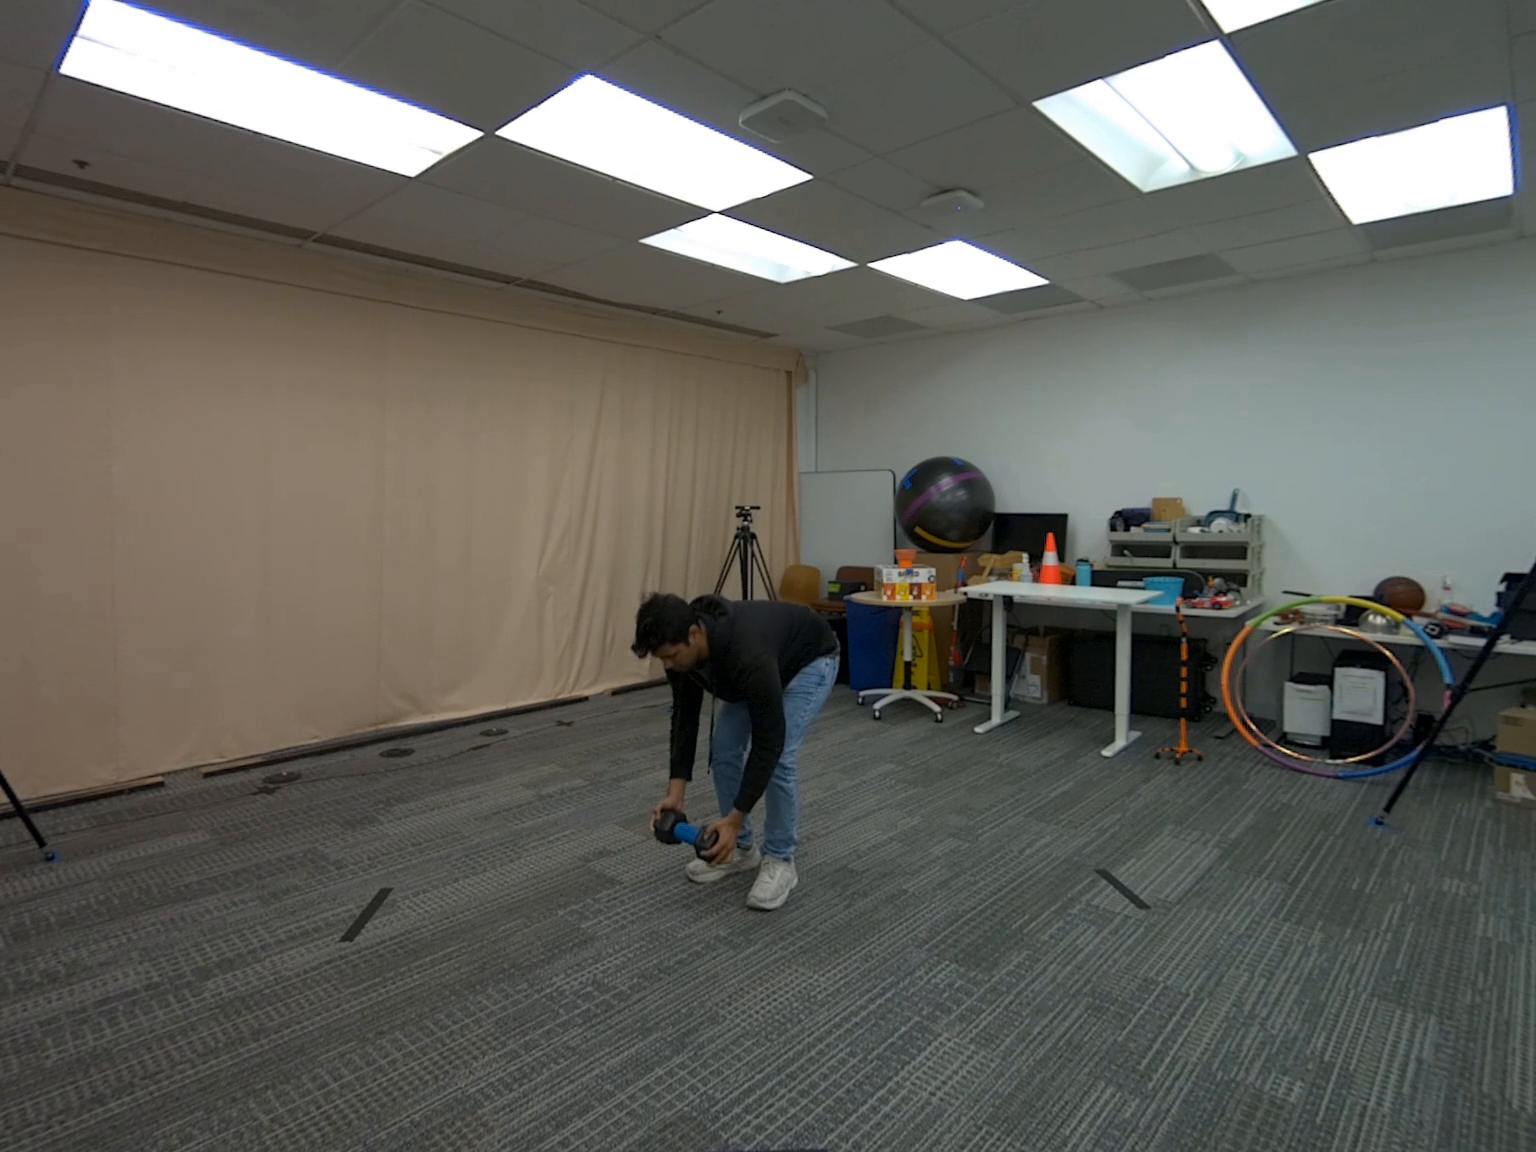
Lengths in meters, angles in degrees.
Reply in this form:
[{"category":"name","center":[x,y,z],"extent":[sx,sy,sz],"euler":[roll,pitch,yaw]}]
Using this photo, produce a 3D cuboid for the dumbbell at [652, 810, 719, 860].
[{"category":"dumbbell","center":[-0.249,0.870,2.885],"extent":[0.303,0.122,0.105],"euler":[5,-38,47]}]
